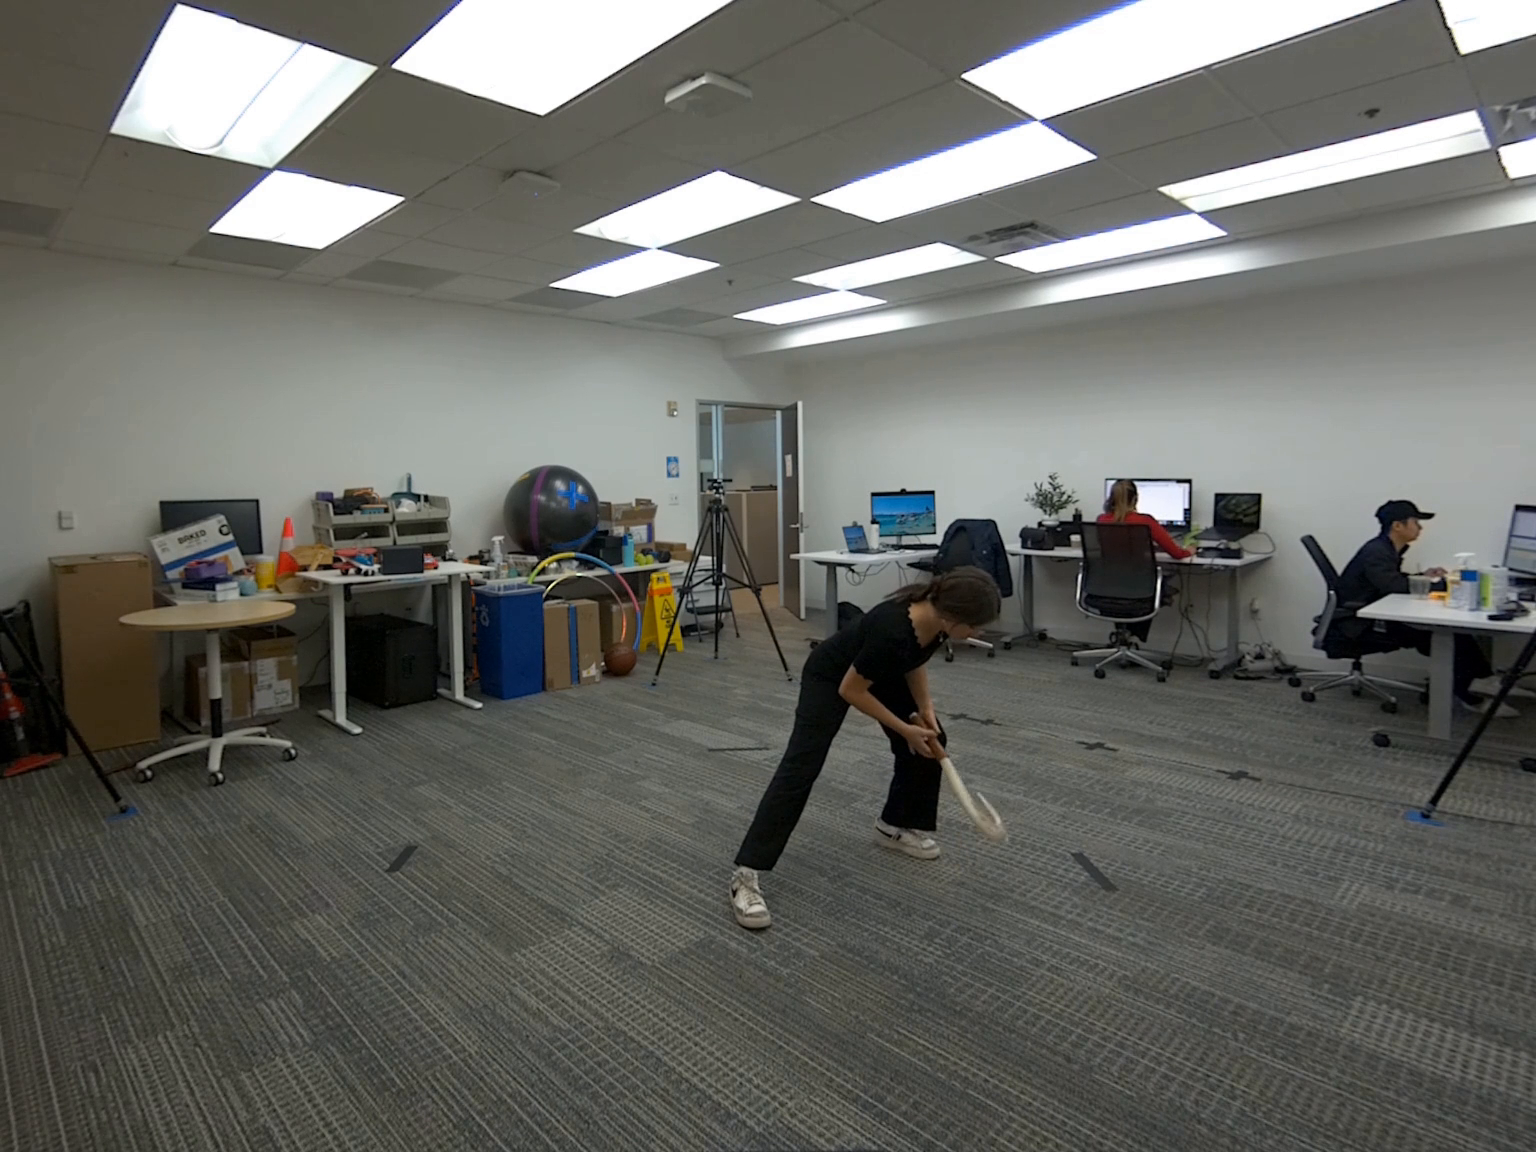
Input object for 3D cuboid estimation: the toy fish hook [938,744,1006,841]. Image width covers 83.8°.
[{"bbox_3d":[0.650,0.684,2.924,0.048,0.525,0.216,-41,-39,14],"label":"toy fish hook"}]
